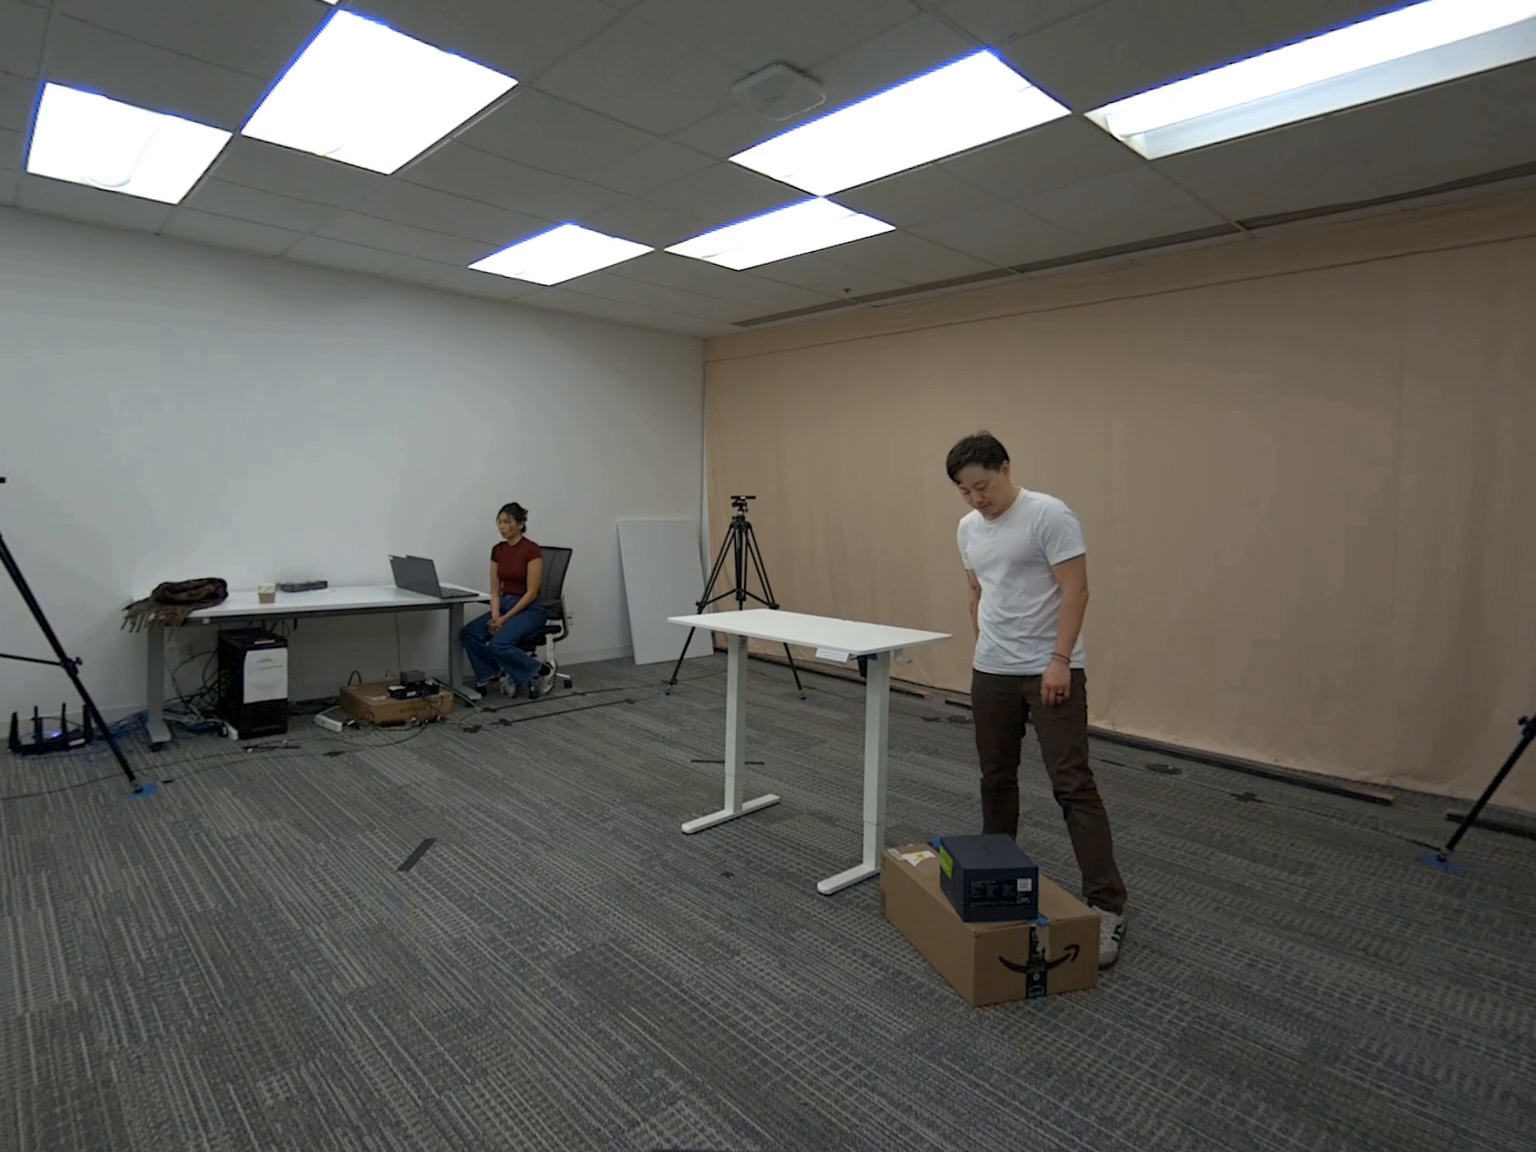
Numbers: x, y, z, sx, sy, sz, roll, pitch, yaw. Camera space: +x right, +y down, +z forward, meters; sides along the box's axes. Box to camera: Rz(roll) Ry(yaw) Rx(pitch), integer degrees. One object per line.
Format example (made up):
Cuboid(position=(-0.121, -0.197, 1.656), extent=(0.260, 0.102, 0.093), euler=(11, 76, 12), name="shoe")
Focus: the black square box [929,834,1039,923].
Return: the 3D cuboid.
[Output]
Cuboid(position=(0.630, 0.879, 2.470), extent=(0.216, 0.155, 0.229), euler=(0, 4, -4), name="black square box")
